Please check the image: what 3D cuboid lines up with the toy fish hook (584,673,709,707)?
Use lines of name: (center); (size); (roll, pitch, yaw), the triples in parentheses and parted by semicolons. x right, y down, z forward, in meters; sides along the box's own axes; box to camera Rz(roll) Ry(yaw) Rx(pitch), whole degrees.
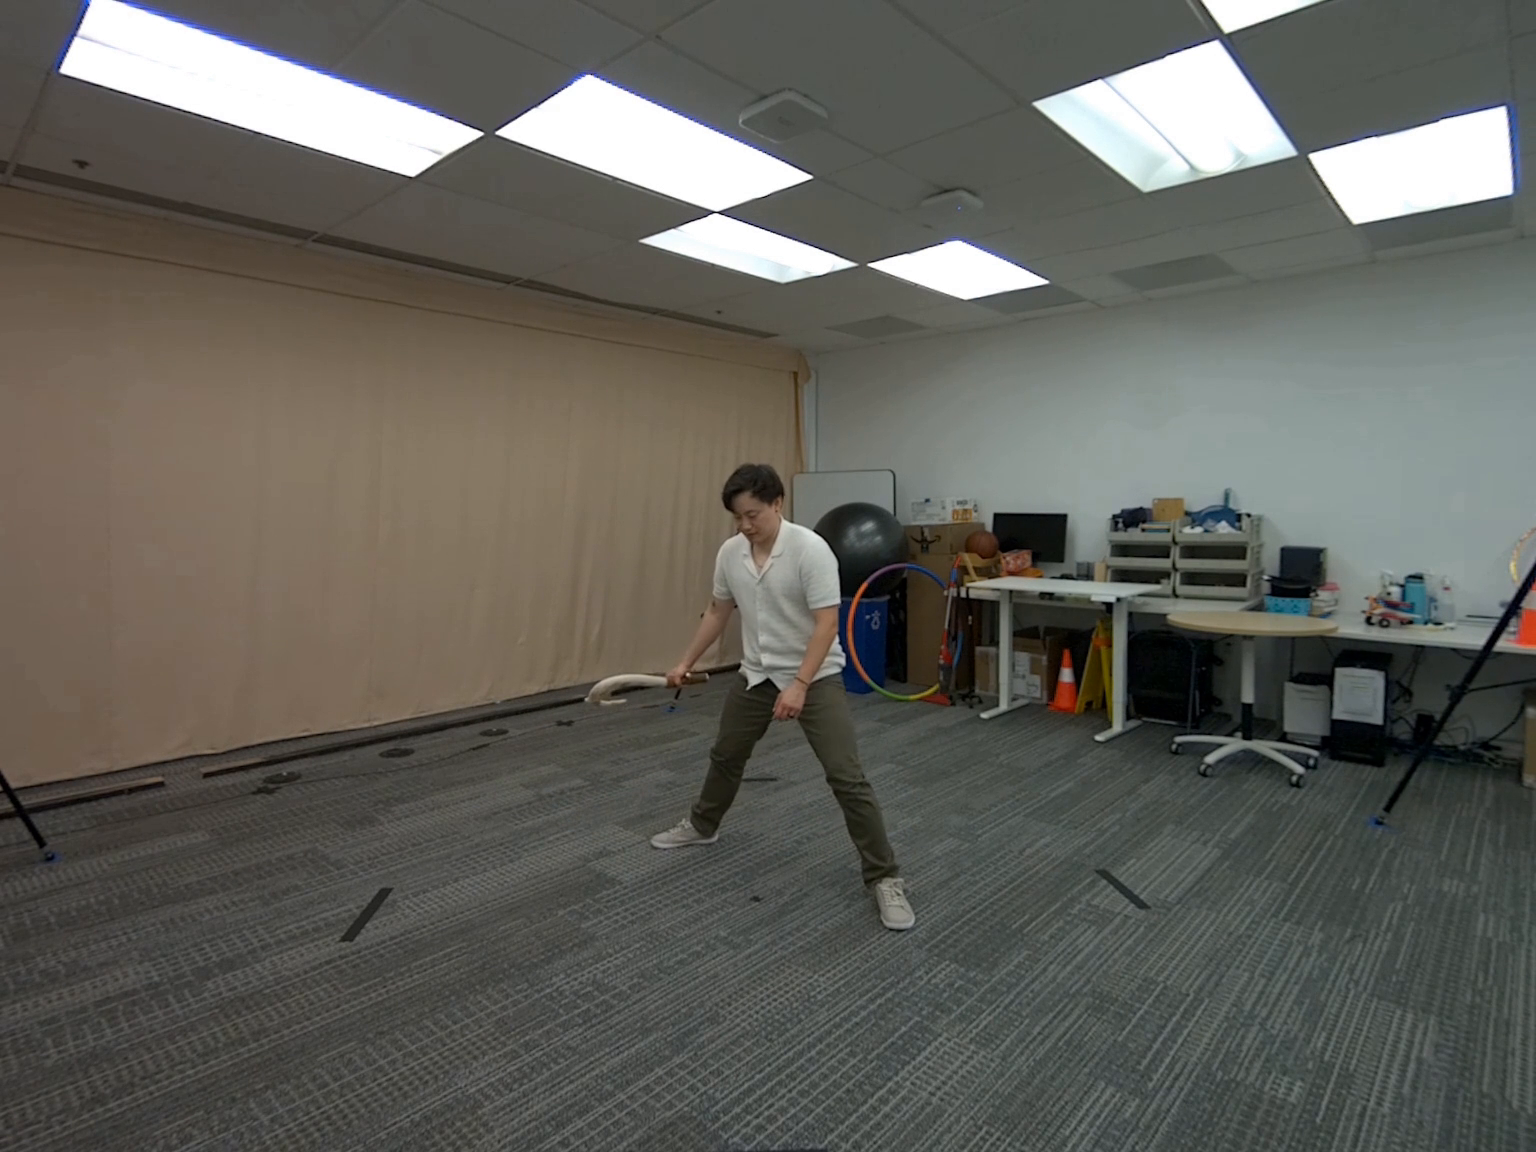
toy fish hook: (-0.455, 0.450, 3.266); (0.491, 0.049, 0.226); (2, -32, -34)
